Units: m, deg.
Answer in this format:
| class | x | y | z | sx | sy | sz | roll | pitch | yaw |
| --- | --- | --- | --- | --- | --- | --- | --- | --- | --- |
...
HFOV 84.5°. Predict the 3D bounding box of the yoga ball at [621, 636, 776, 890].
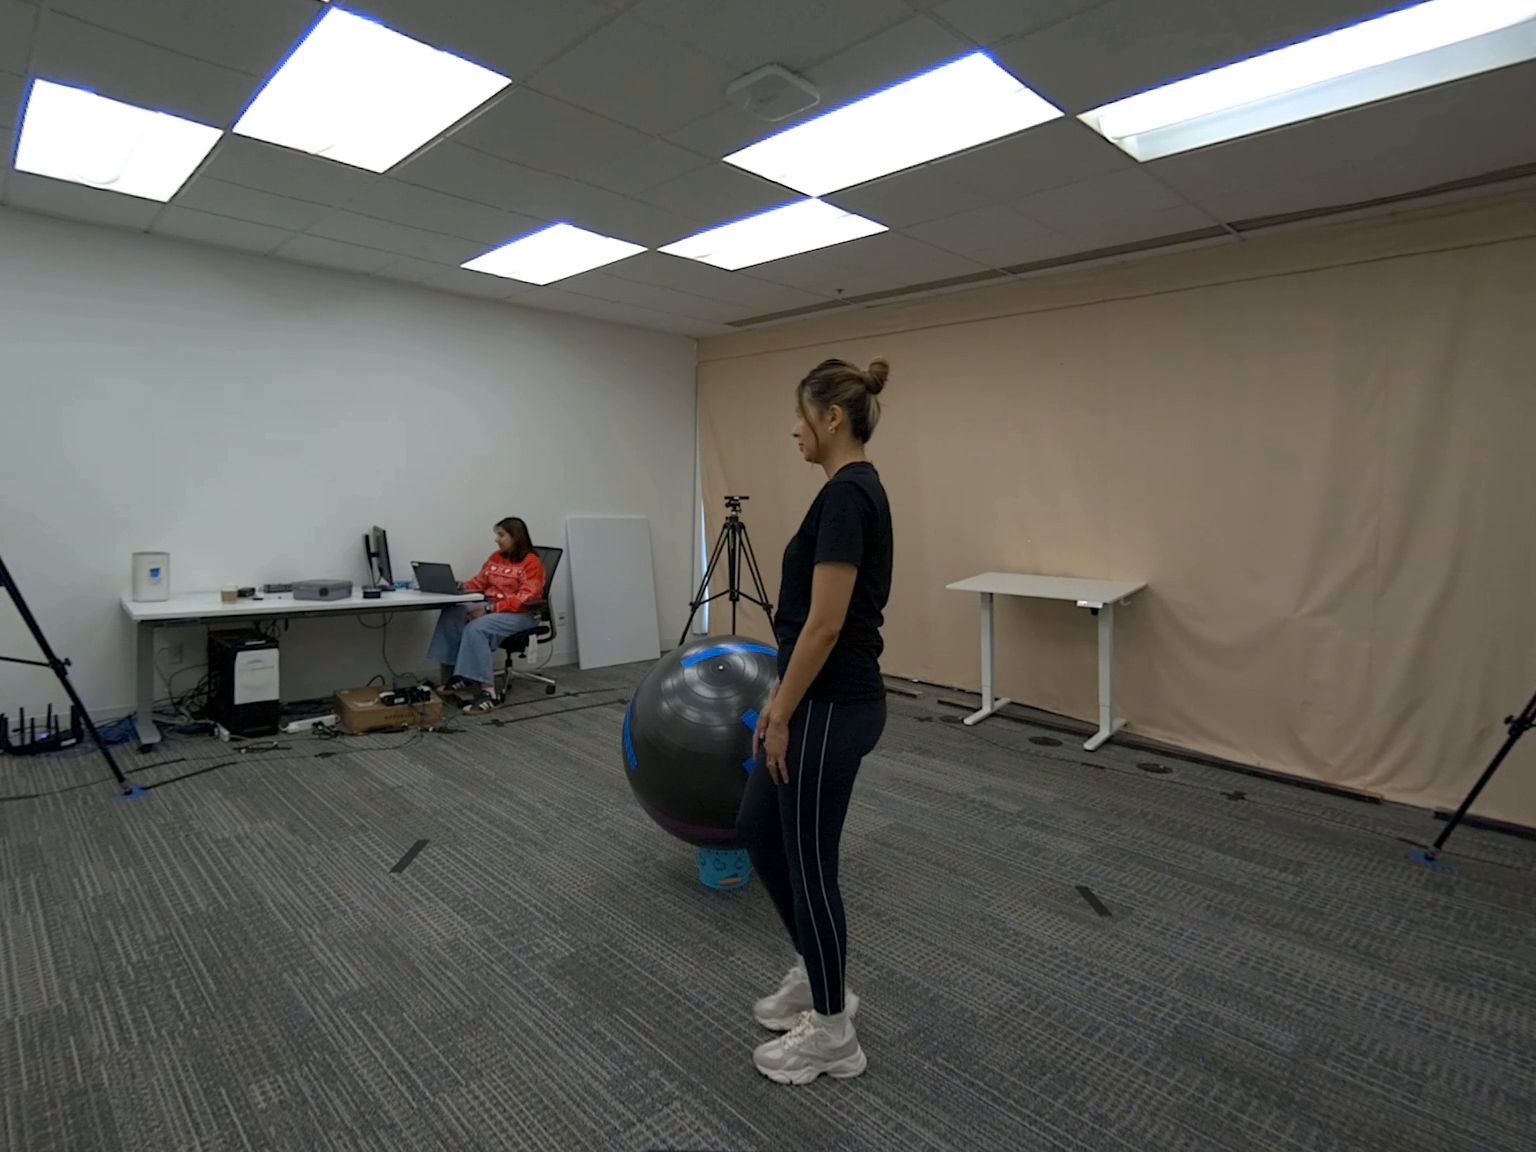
| class | x | y | z | sx | sy | sz | roll | pitch | yaw |
| --- | --- | --- | --- | --- | --- | --- | --- | --- | --- |
| yoga ball | -0.160 | 0.600 | 3.062 | 0.757 | 0.756 | 0.761 | 1 | 4 | -1 |
